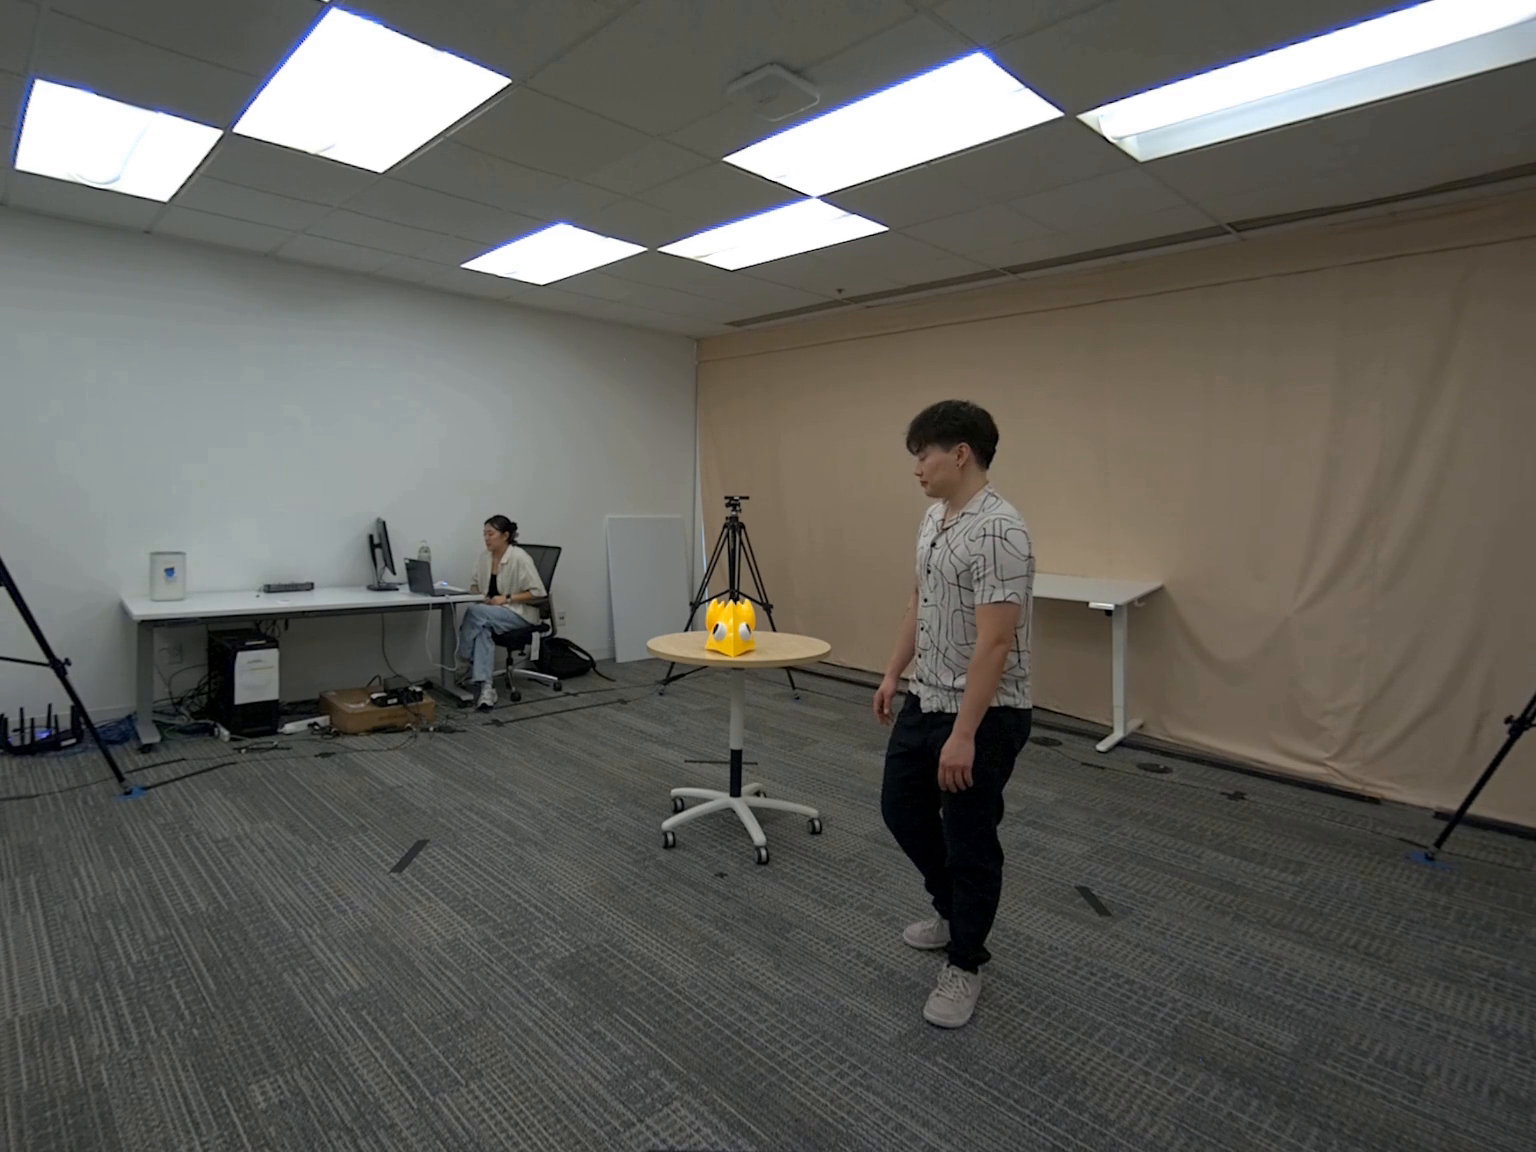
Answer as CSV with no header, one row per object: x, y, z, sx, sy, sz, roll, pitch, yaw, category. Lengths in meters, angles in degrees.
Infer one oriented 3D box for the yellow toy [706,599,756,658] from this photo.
-0.147,0.213,3.293,0.204,0.191,0.234,1,16,-5,yellow toy
